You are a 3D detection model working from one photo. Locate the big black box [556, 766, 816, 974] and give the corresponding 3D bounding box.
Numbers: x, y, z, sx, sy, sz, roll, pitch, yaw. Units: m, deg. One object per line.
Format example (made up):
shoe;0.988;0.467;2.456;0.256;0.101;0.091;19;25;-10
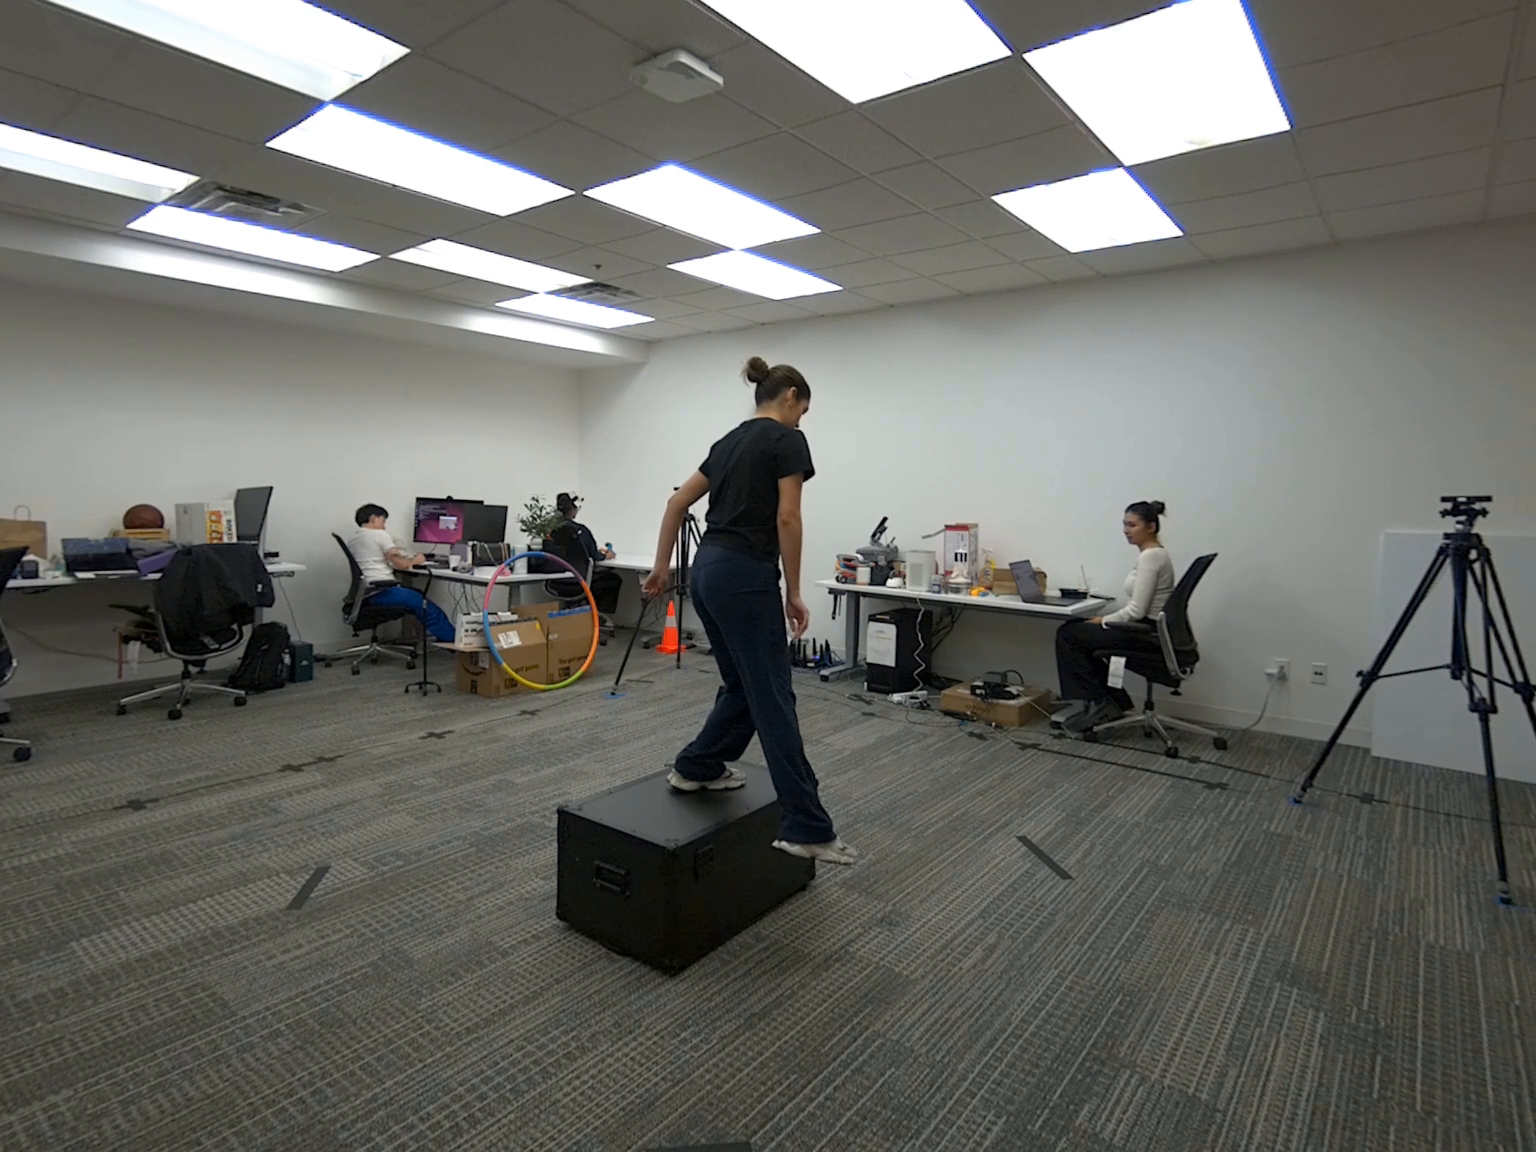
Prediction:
big black box;-0.218;0.902;2.867;0.538;0.395;0.837;5;7;36
